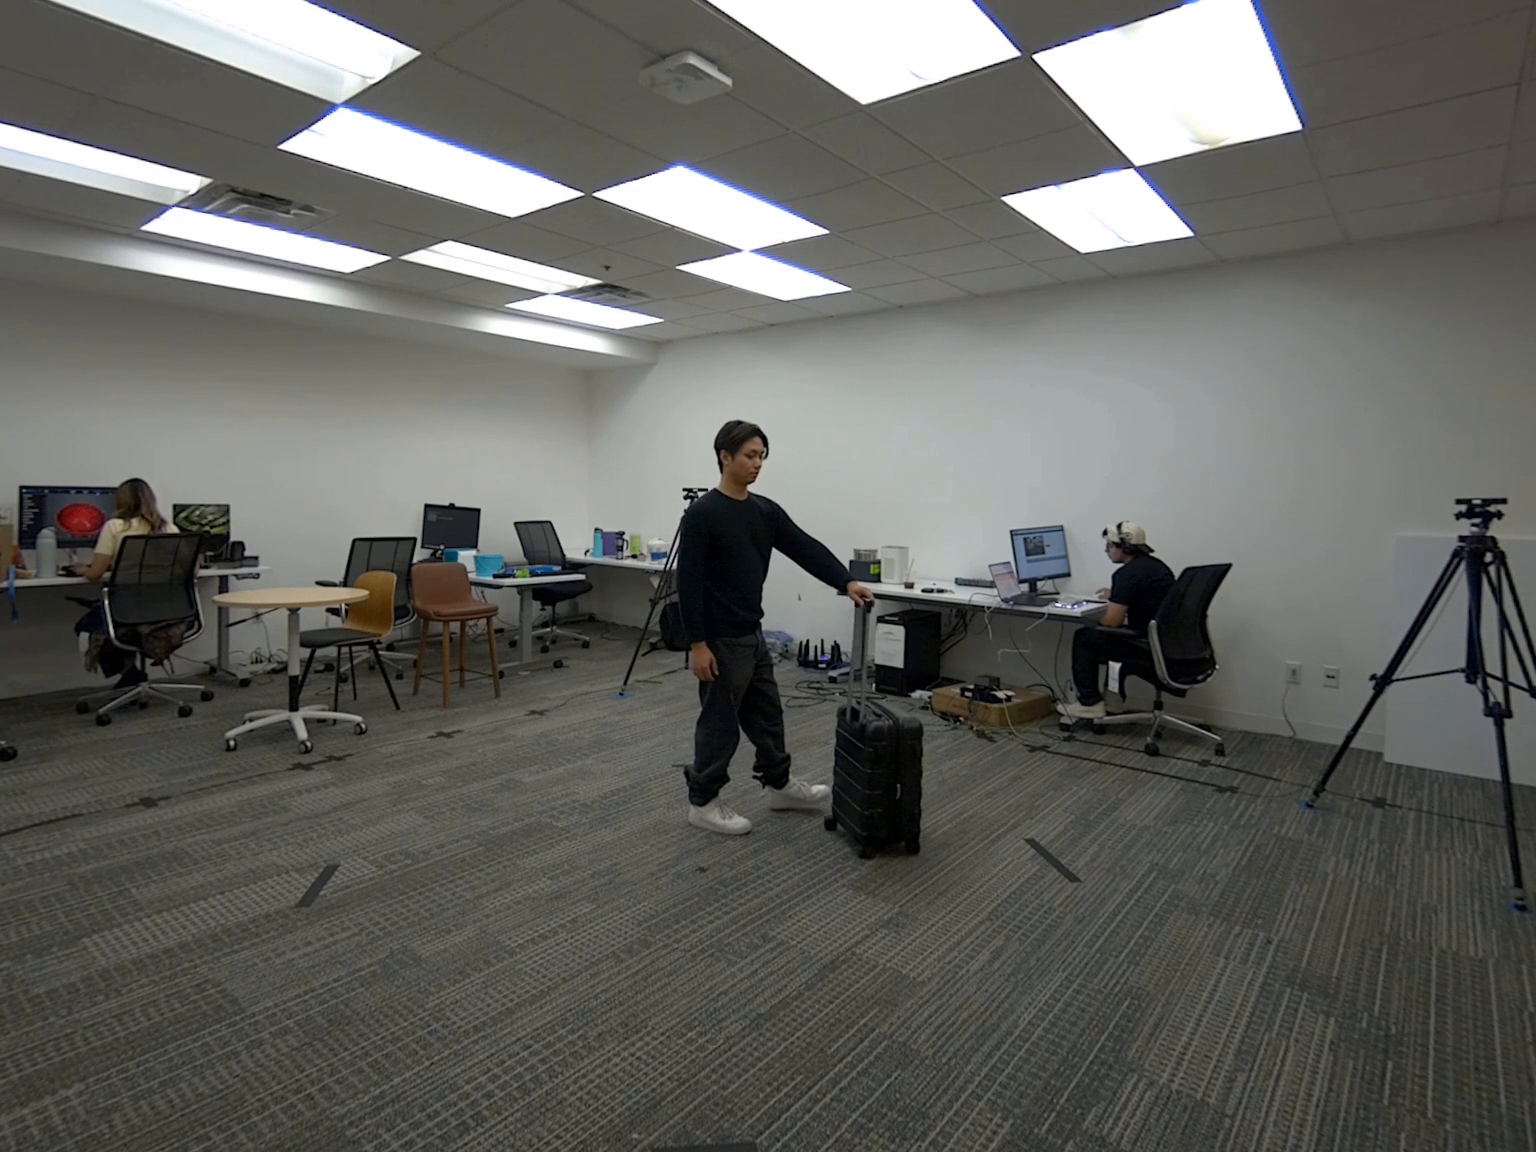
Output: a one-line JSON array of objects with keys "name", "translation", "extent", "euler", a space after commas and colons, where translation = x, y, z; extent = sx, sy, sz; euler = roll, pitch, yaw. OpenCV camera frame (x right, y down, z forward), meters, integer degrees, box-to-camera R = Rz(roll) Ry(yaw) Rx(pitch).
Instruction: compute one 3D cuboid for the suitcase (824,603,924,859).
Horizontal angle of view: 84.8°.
[{"name": "suitcase", "translation": [0.440, 0.579, 3.367], "extent": [0.253, 0.976, 0.391], "euler": [3, 3, -14]}]
